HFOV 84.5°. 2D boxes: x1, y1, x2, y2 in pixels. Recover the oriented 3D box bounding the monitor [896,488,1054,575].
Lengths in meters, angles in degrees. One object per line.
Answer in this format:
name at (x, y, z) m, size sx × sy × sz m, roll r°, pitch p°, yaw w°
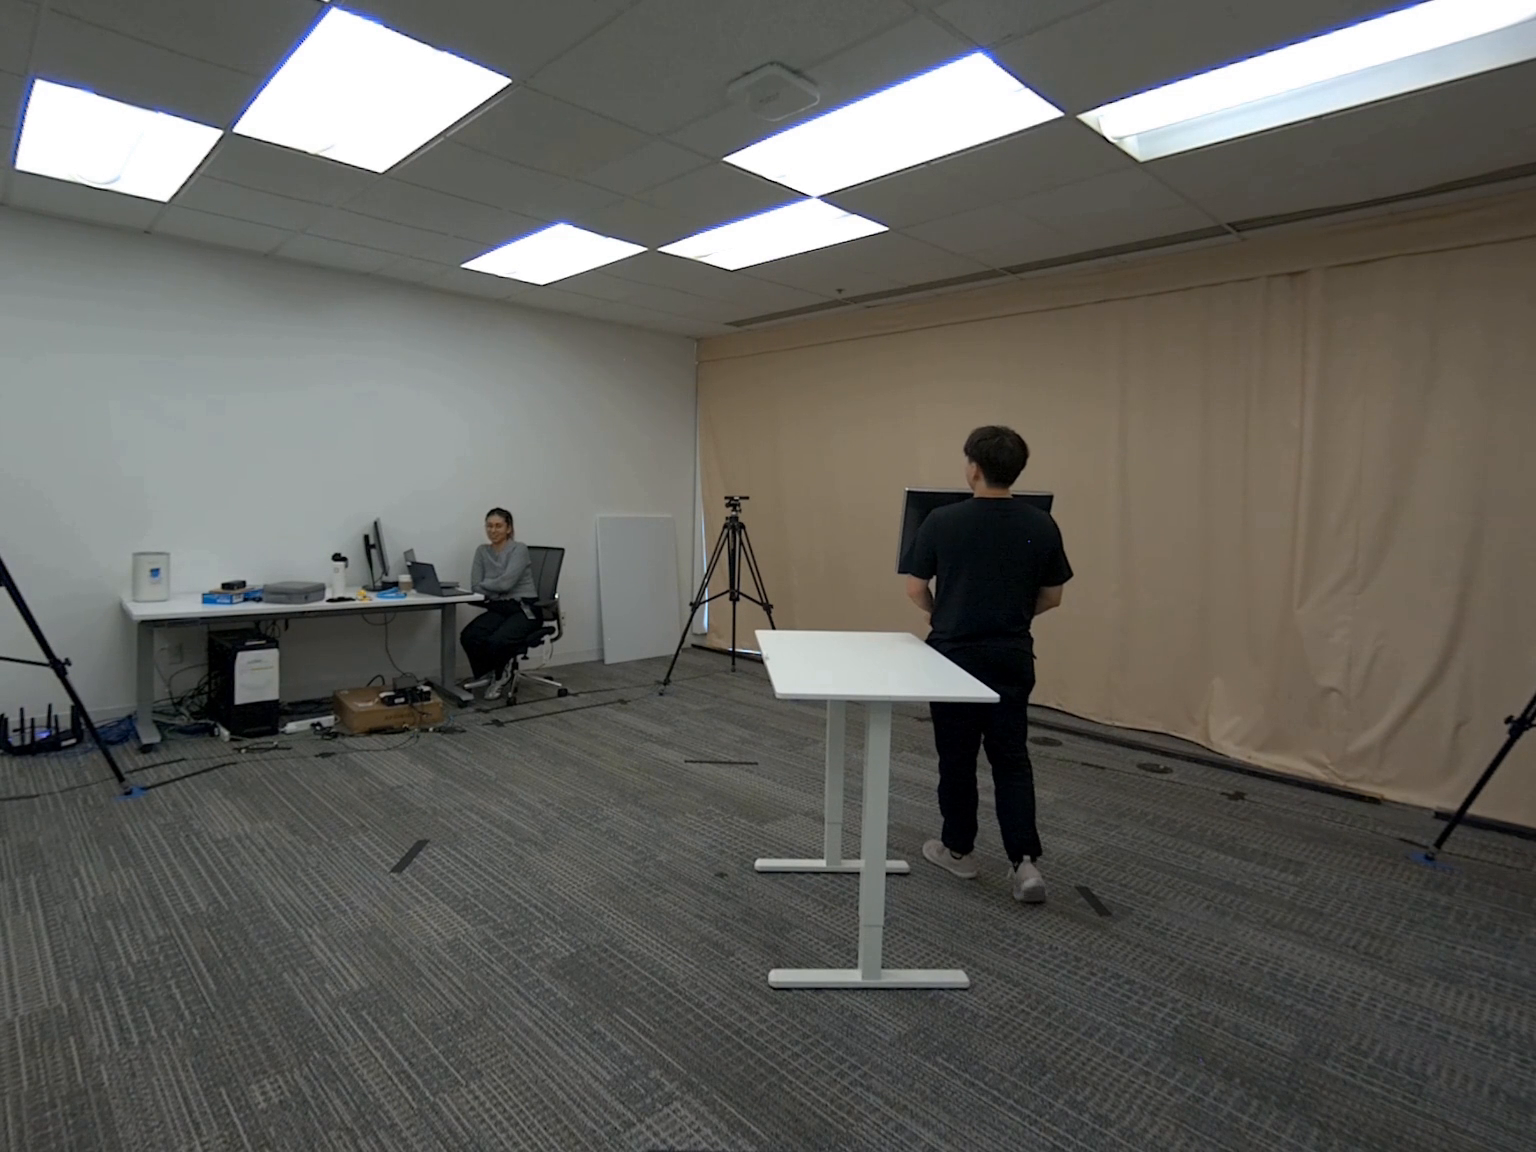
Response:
monitor at (0.793, -0.060, 3.251) m, size 0.539 × 0.518 × 0.189 m, roll 3°, pitch 13°, yaw 0°
